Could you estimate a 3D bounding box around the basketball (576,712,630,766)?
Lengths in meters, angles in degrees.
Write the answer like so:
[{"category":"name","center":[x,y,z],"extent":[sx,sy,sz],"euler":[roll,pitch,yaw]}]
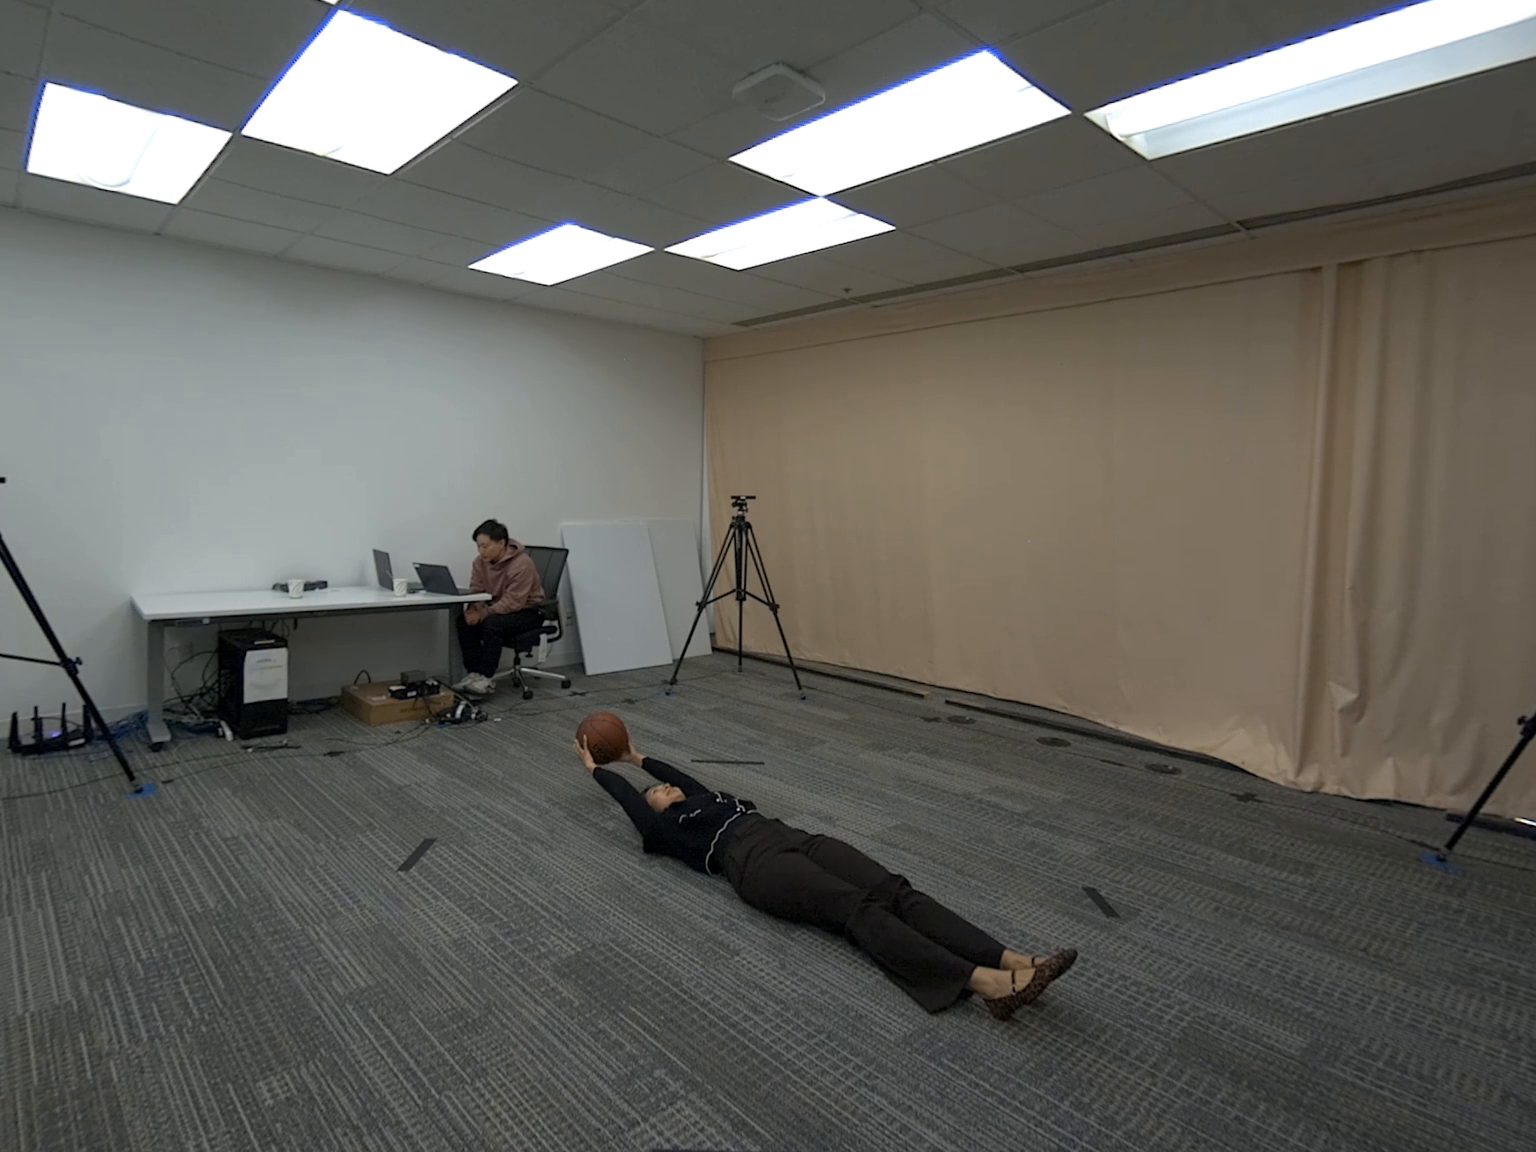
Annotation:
[{"category":"basketball","center":[-0.771,0.741,3.850],"extent":[0.236,0.235,0.237],"euler":[1,4,-1]}]
